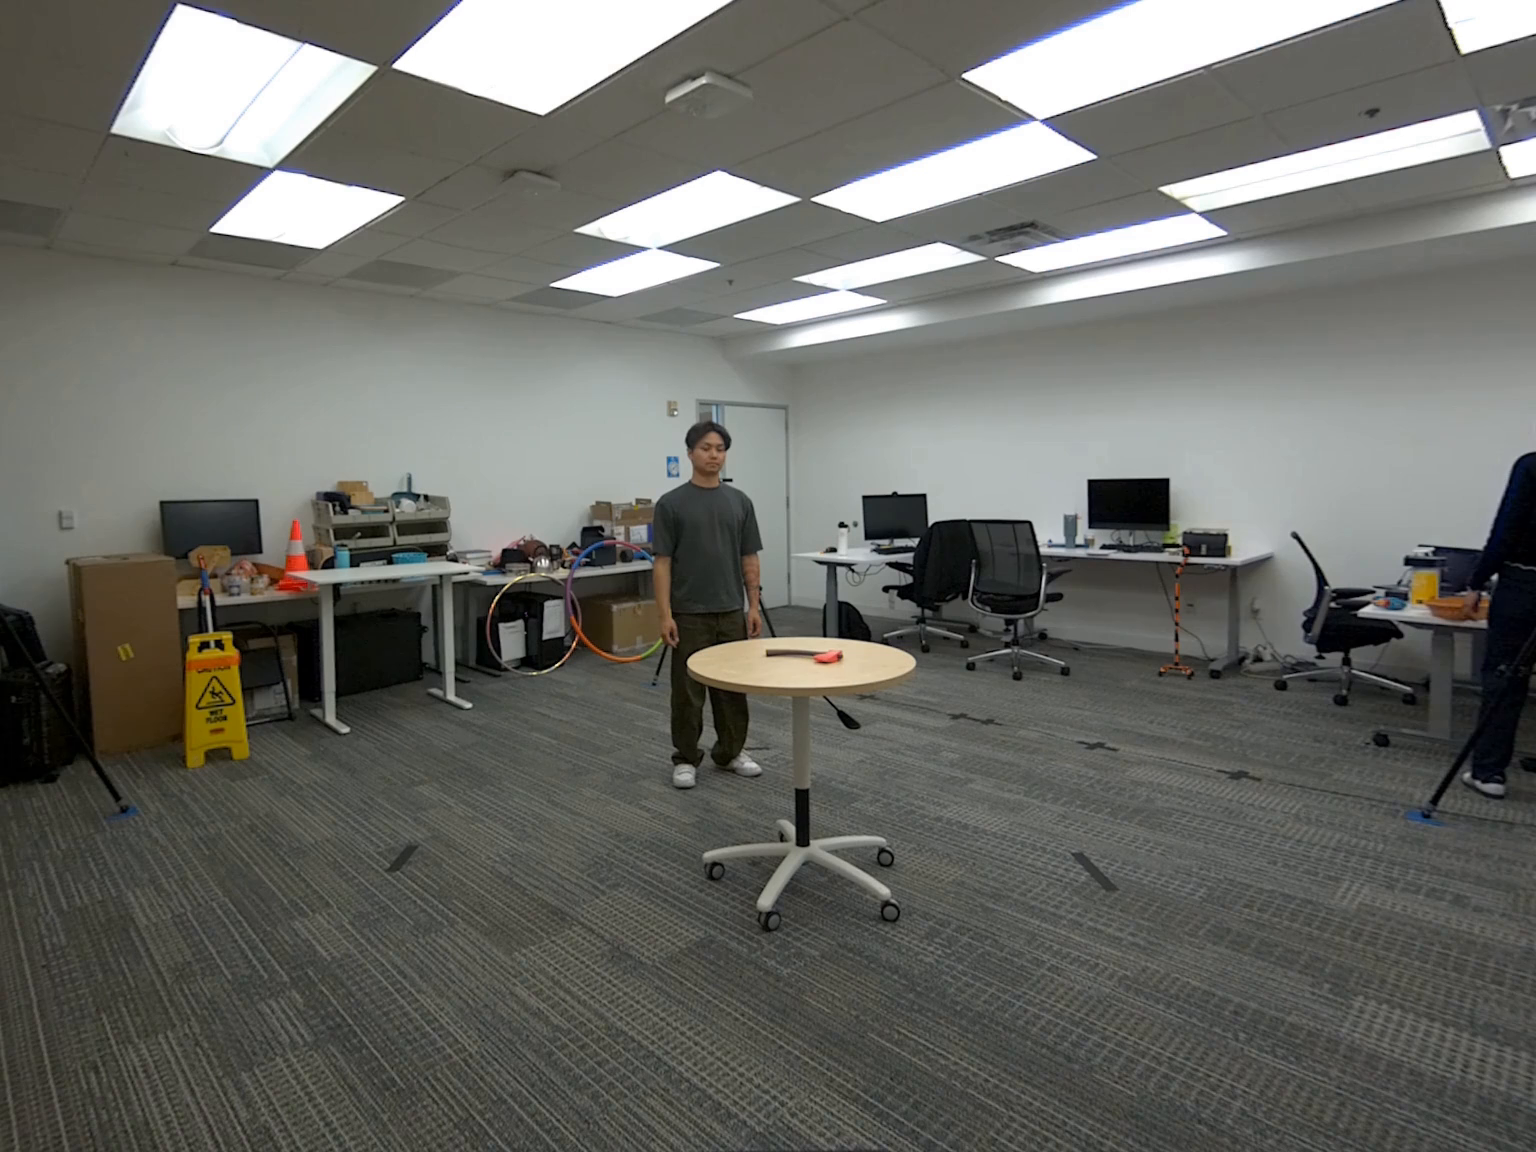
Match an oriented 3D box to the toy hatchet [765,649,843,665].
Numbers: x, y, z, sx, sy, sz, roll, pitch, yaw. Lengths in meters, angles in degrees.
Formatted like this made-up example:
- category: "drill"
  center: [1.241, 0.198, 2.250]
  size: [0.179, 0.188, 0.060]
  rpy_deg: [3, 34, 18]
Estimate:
- category: "toy hatchet"
  center: [0.120, 0.271, 2.886]
  size: [0.273, 0.029, 0.131]
  rpy_deg: [-2, 10, 12]
